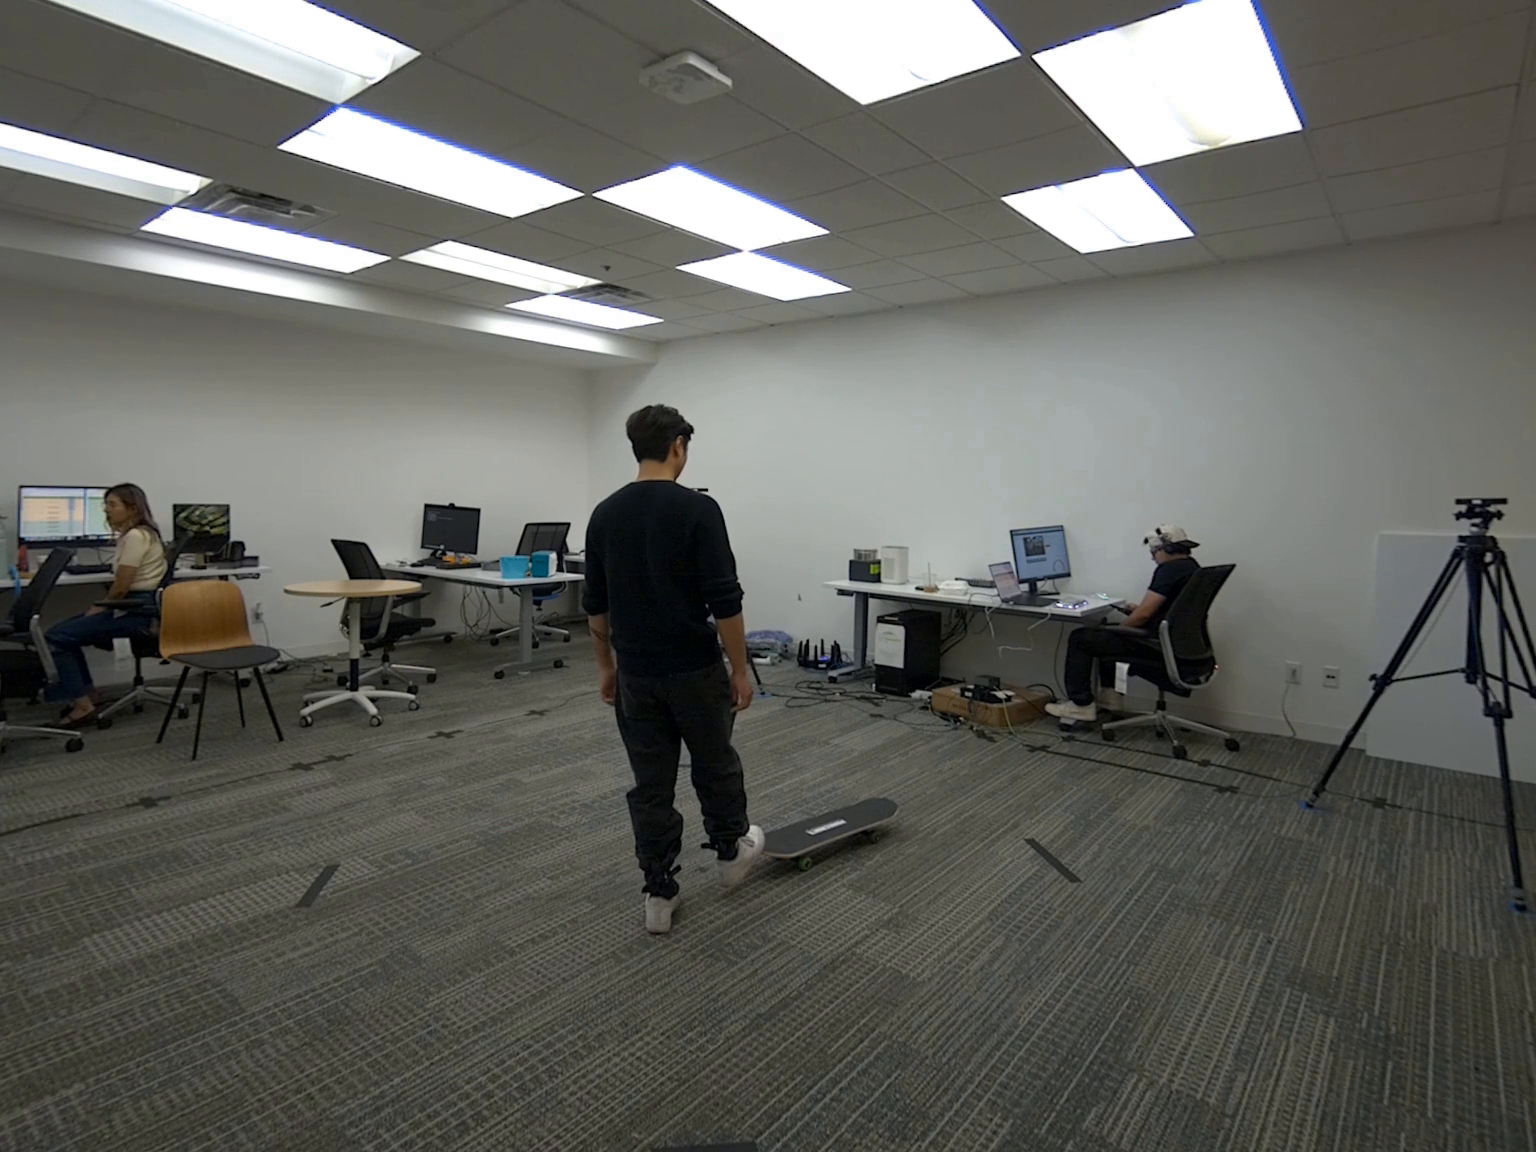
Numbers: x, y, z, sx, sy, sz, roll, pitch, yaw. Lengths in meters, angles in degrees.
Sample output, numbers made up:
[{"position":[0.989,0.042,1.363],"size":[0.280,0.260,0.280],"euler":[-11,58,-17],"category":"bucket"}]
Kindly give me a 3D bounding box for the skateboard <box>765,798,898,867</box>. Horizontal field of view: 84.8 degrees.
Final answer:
[{"position":[0.221,1.005,3.318],"size":[0.762,0.110,0.200],"euler":[-4,8,-42],"category":"skateboard"}]
